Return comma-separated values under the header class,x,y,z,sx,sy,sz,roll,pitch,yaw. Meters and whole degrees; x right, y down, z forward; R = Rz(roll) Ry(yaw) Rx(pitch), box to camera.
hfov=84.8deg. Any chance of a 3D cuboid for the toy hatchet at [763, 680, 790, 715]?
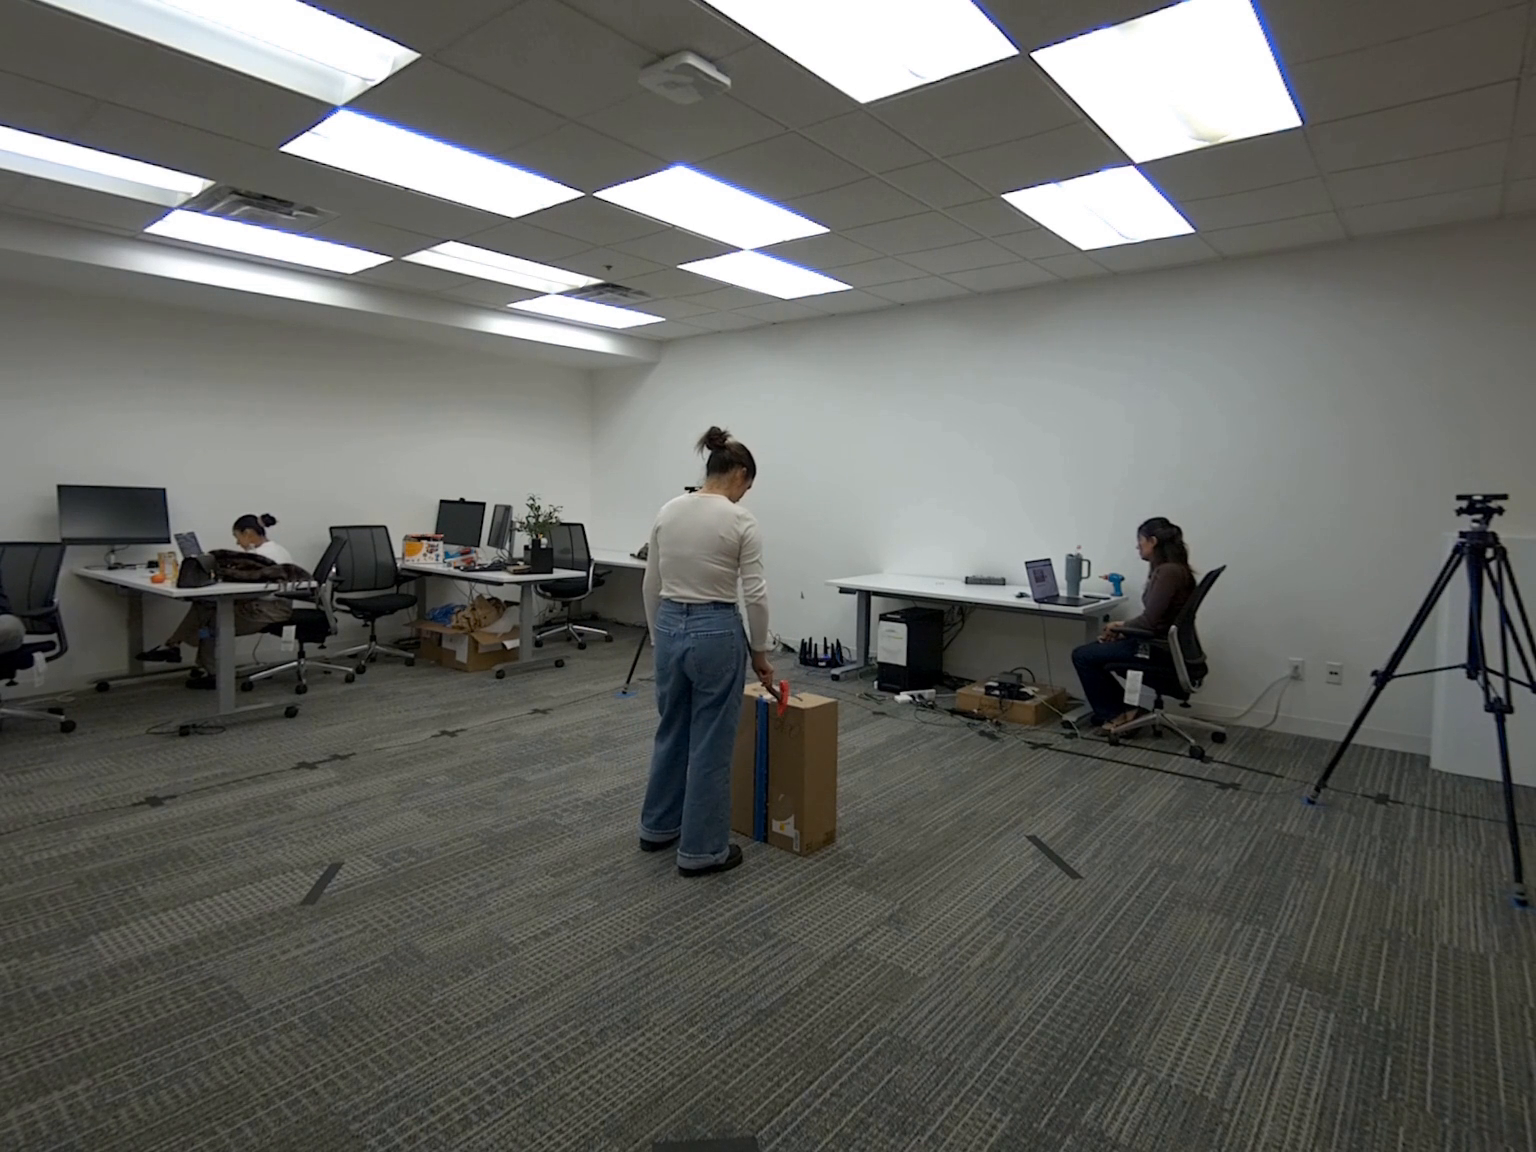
class,x,y,z,sx,sy,sz,roll,pitch,yaw
toy hatchet,0.043,0.382,3.185,0.030,0.132,0.259,4,-36,29
